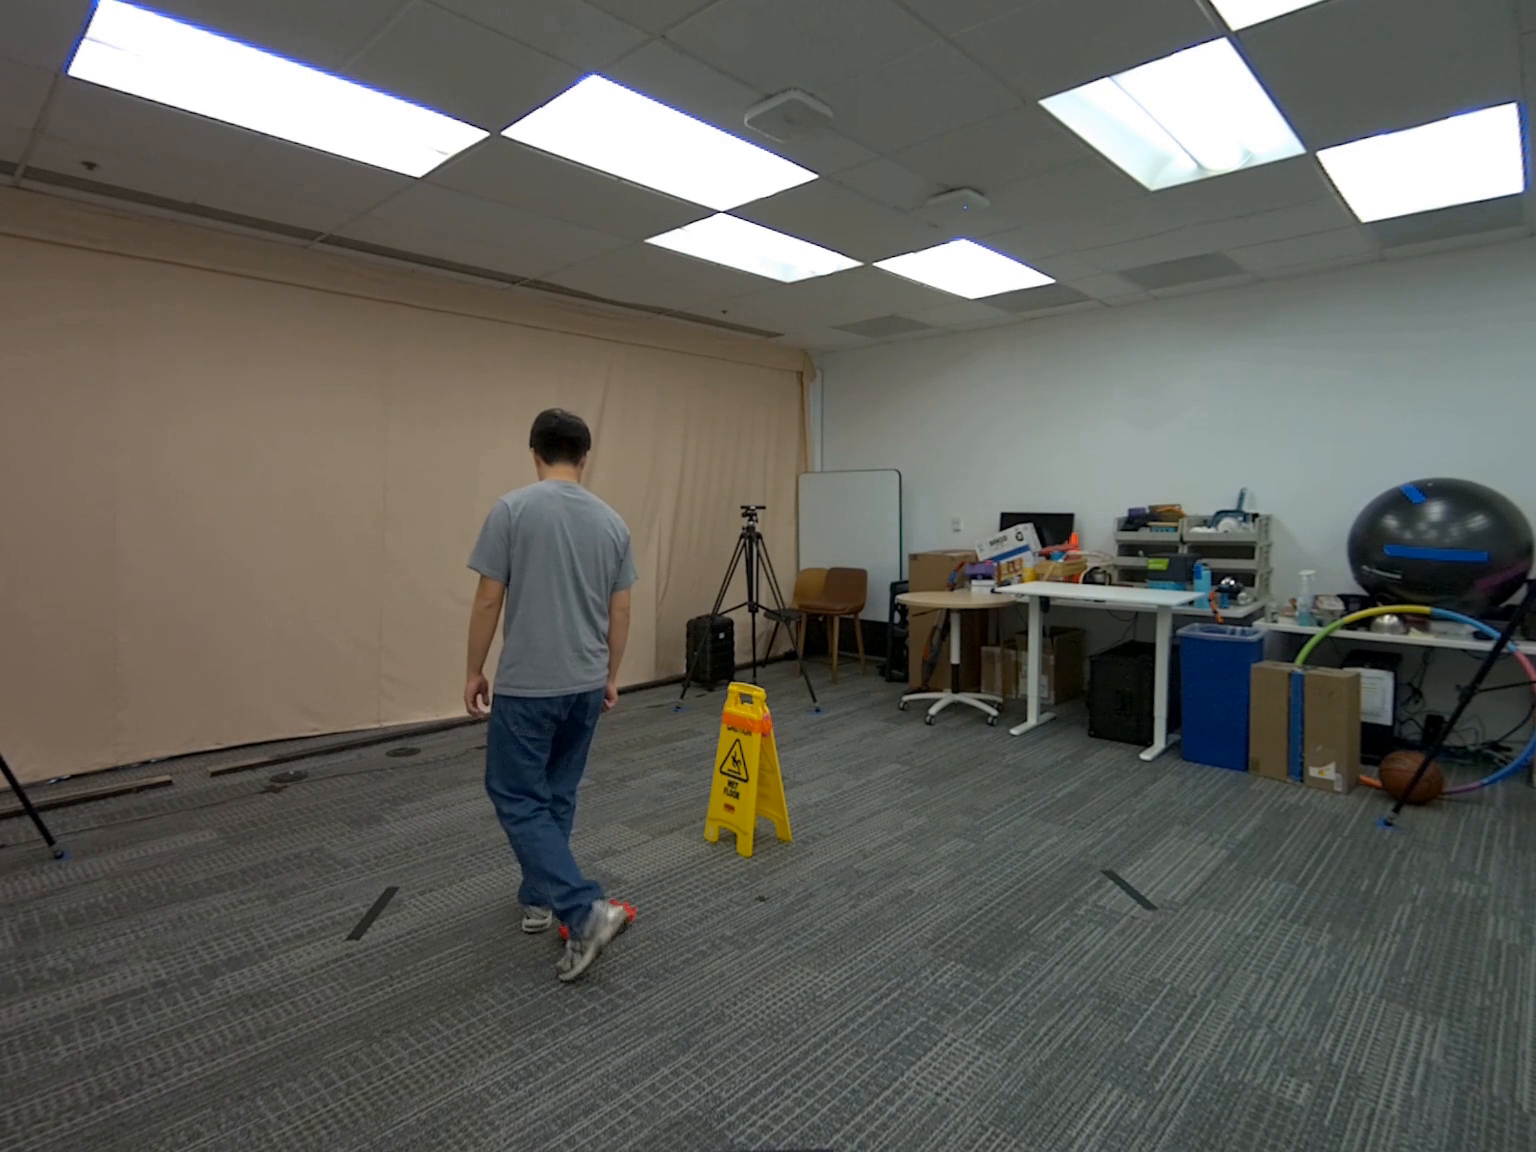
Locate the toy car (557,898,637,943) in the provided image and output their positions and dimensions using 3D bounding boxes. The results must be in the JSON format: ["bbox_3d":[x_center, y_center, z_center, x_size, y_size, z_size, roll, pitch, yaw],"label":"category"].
[{"bbox_3d":[-0.552,1.138,2.747,0.248,0.082,0.134,-16,12,-34],"label":"toy car"}]
